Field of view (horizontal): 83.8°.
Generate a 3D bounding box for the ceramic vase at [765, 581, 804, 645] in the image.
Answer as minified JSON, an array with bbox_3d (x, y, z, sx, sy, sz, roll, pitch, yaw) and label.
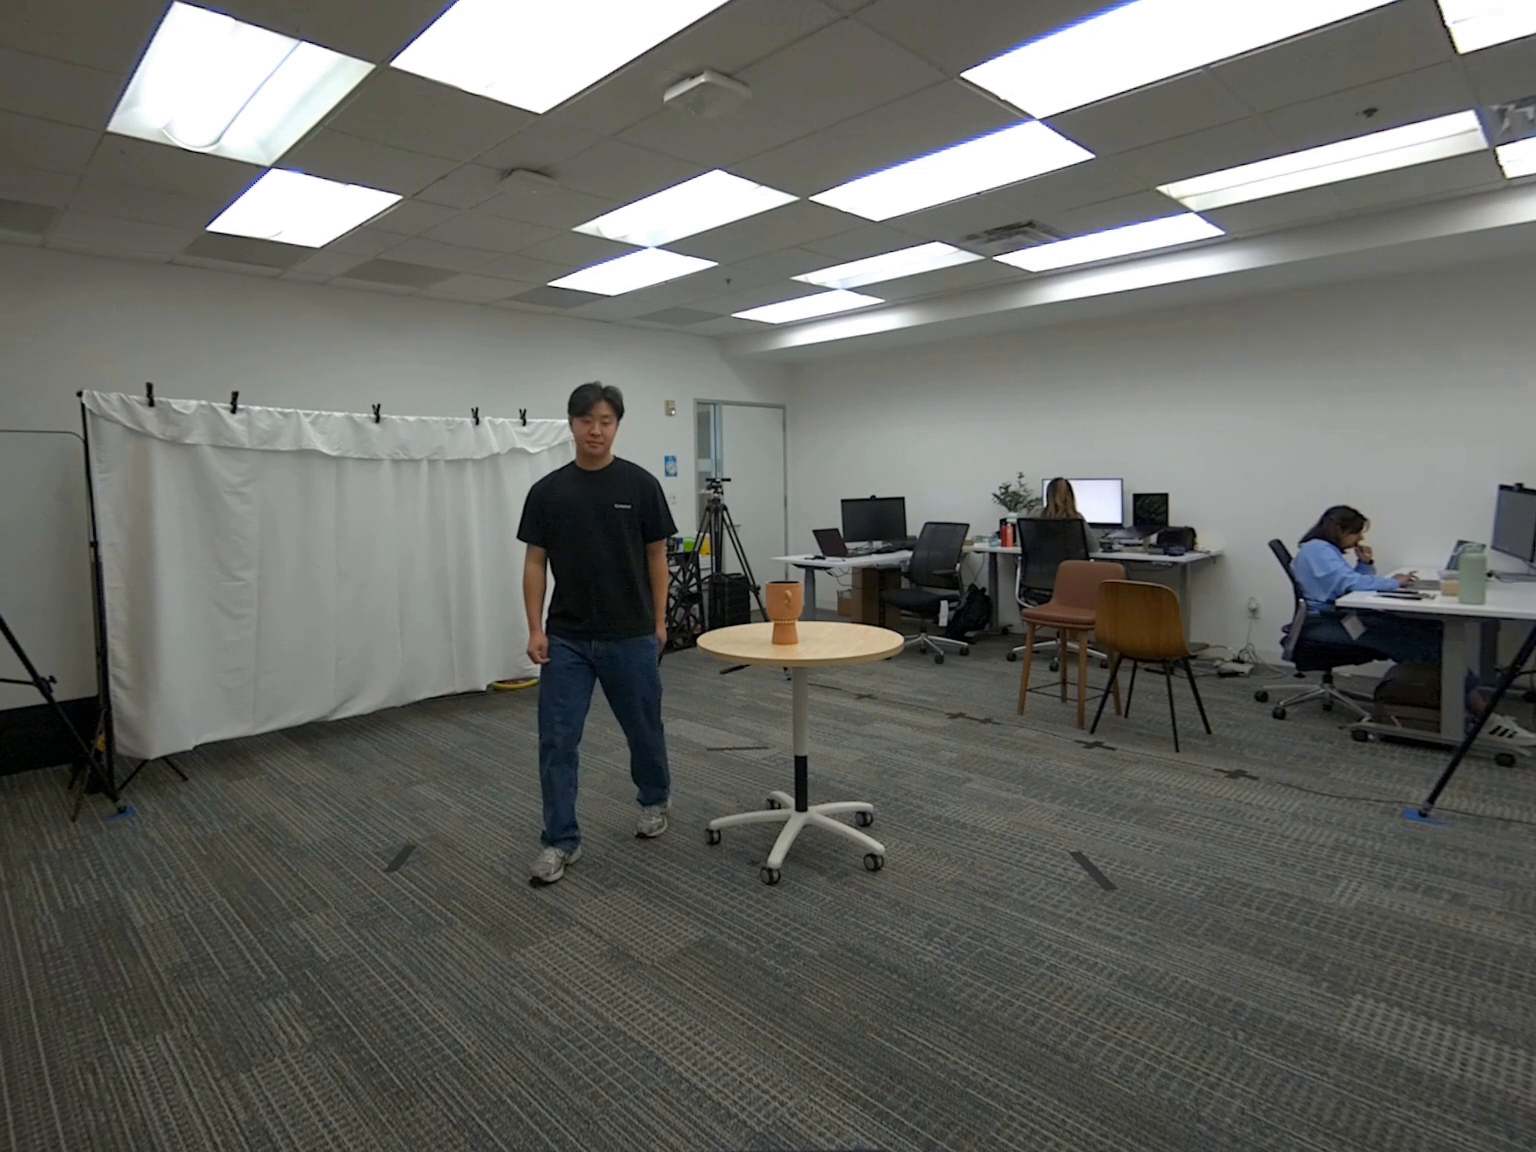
[{"bbox_3d":[0.056,0.132,3.106,0.138,0.219,0.155,1,5,29],"label":"ceramic vase"}]
